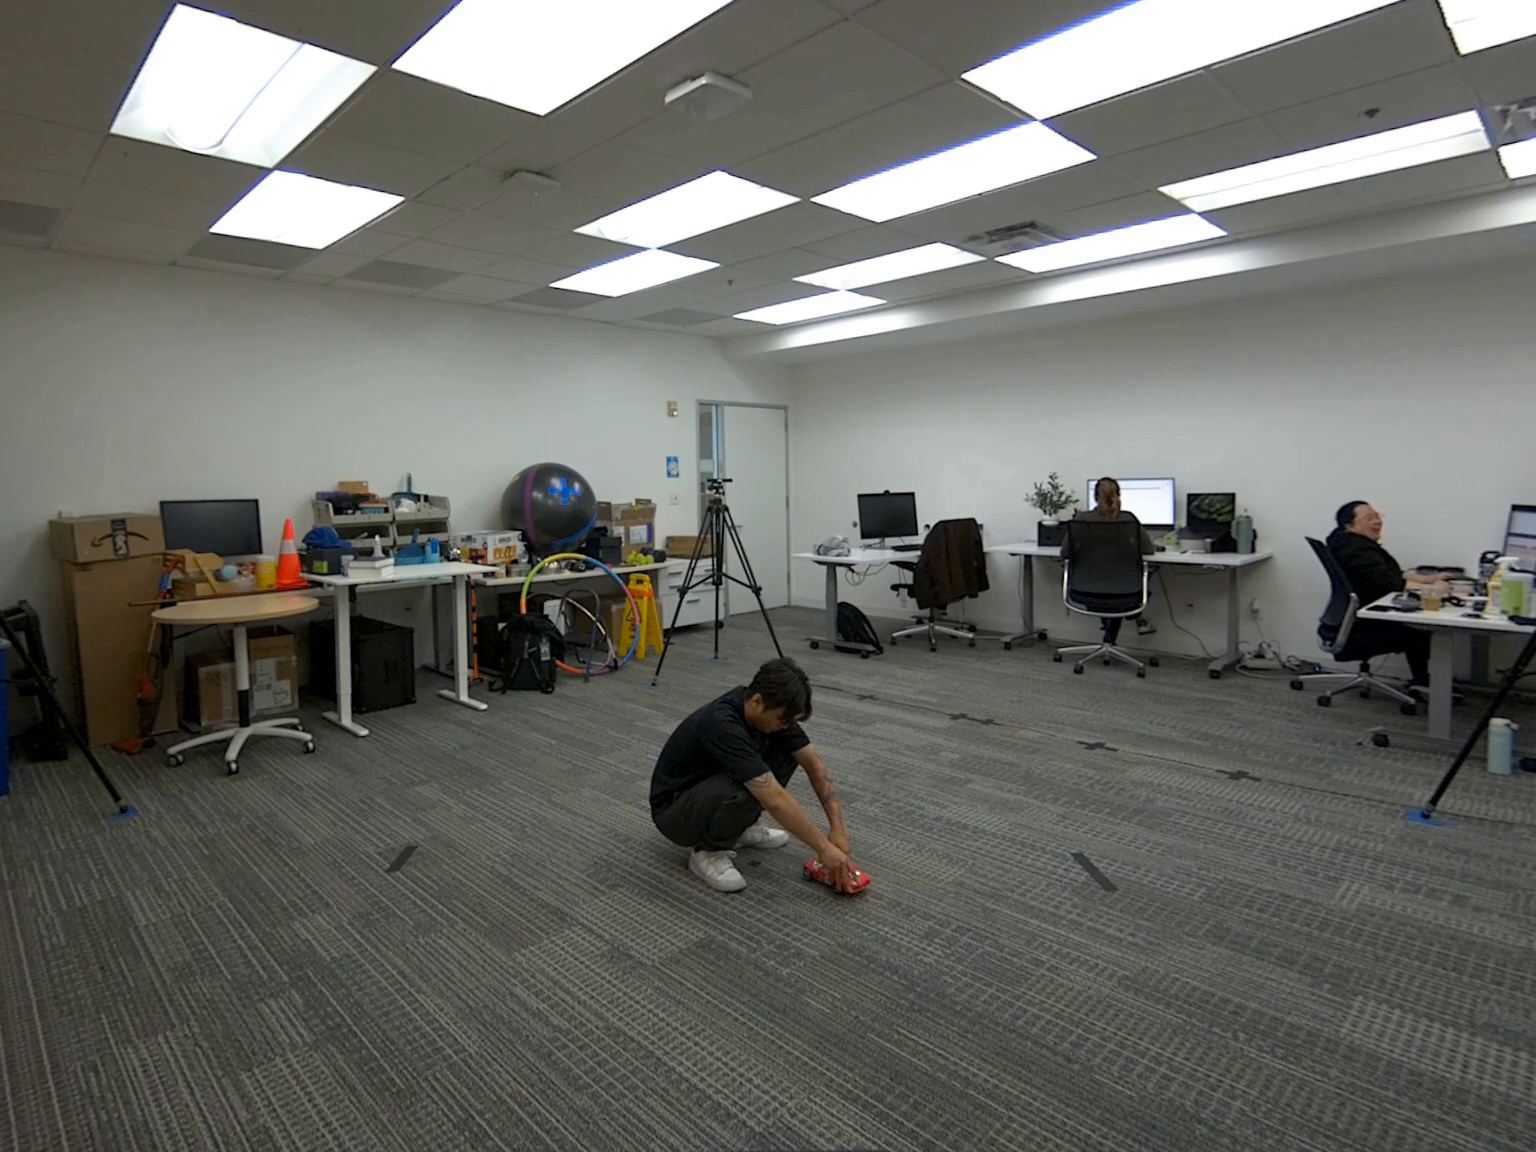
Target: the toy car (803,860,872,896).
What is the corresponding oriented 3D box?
[{"bbox_3d":[0.237,1.021,2.923,0.127,0.083,0.260,-7,-2,-40],"label":"toy car"}]
